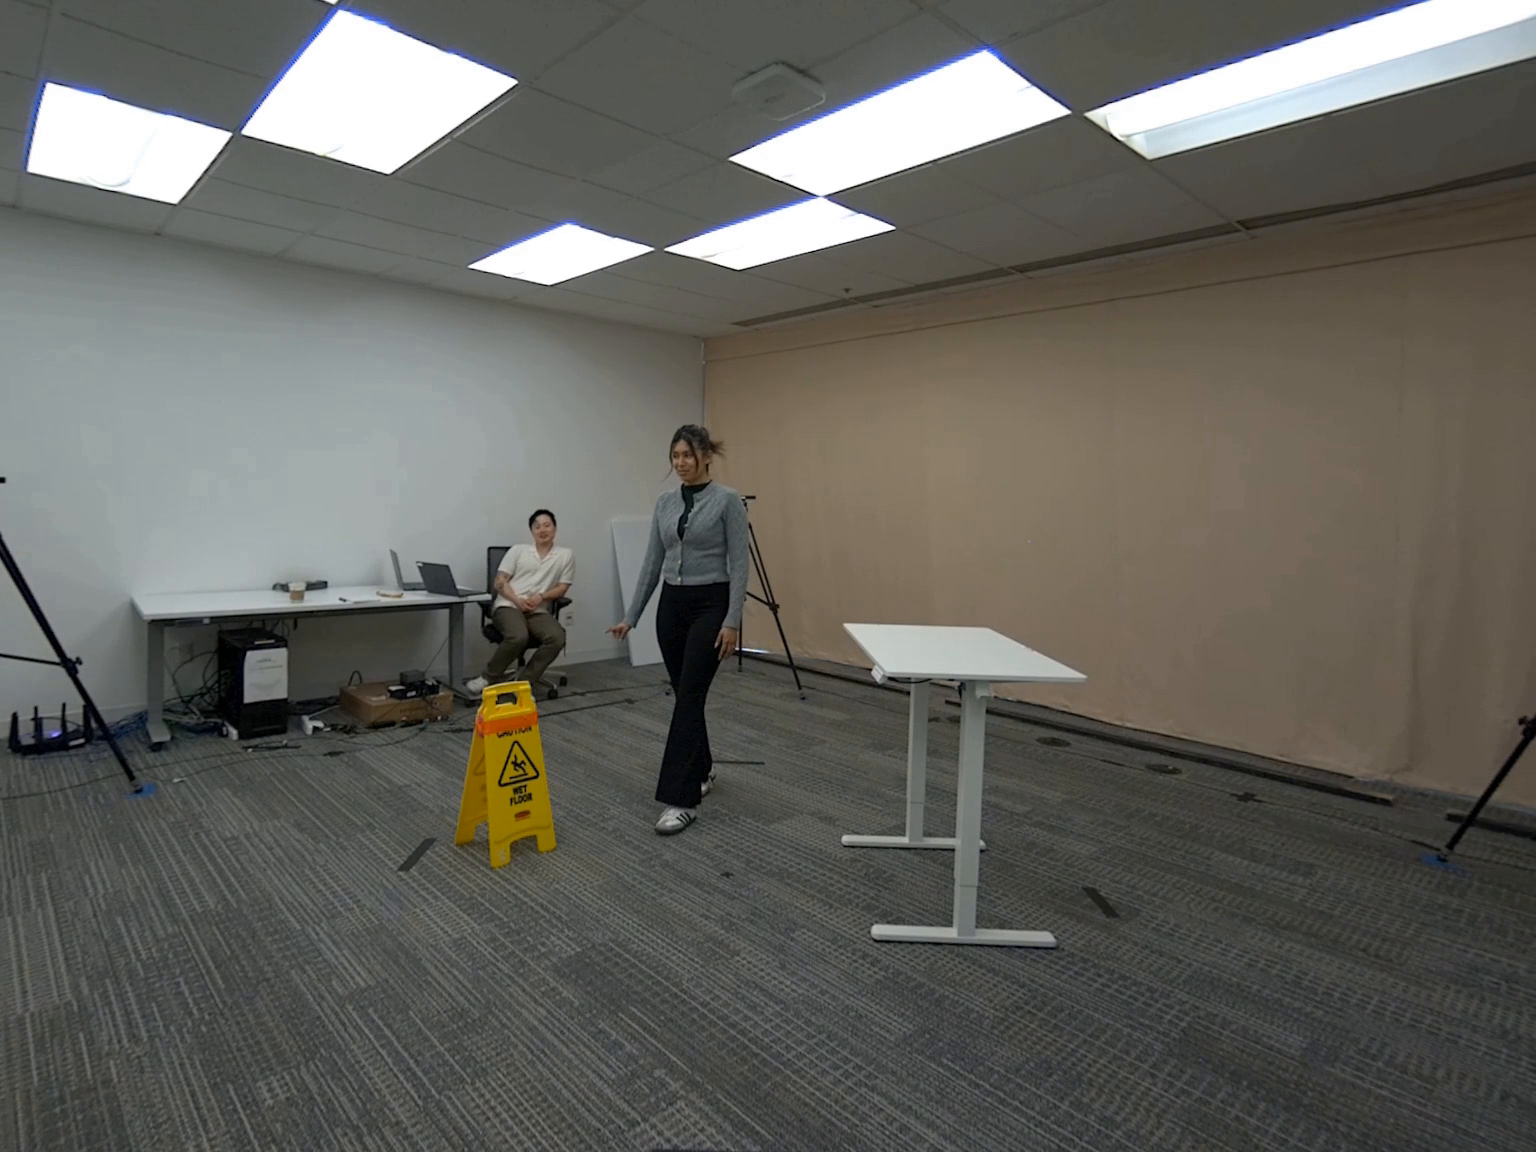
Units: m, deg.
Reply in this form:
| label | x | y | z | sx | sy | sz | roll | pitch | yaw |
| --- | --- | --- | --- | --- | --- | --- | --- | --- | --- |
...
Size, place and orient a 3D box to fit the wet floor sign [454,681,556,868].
| label | x | y | z | sx | sy | sz | roll | pitch | yaw |
| --- | --- | --- | --- | --- | --- | --- | --- | --- | --- |
| wet floor sign | -1.035 | 0.746 | 3.291 | 0.297 | 0.645 | 0.276 | 4 | 4 | 44 |
